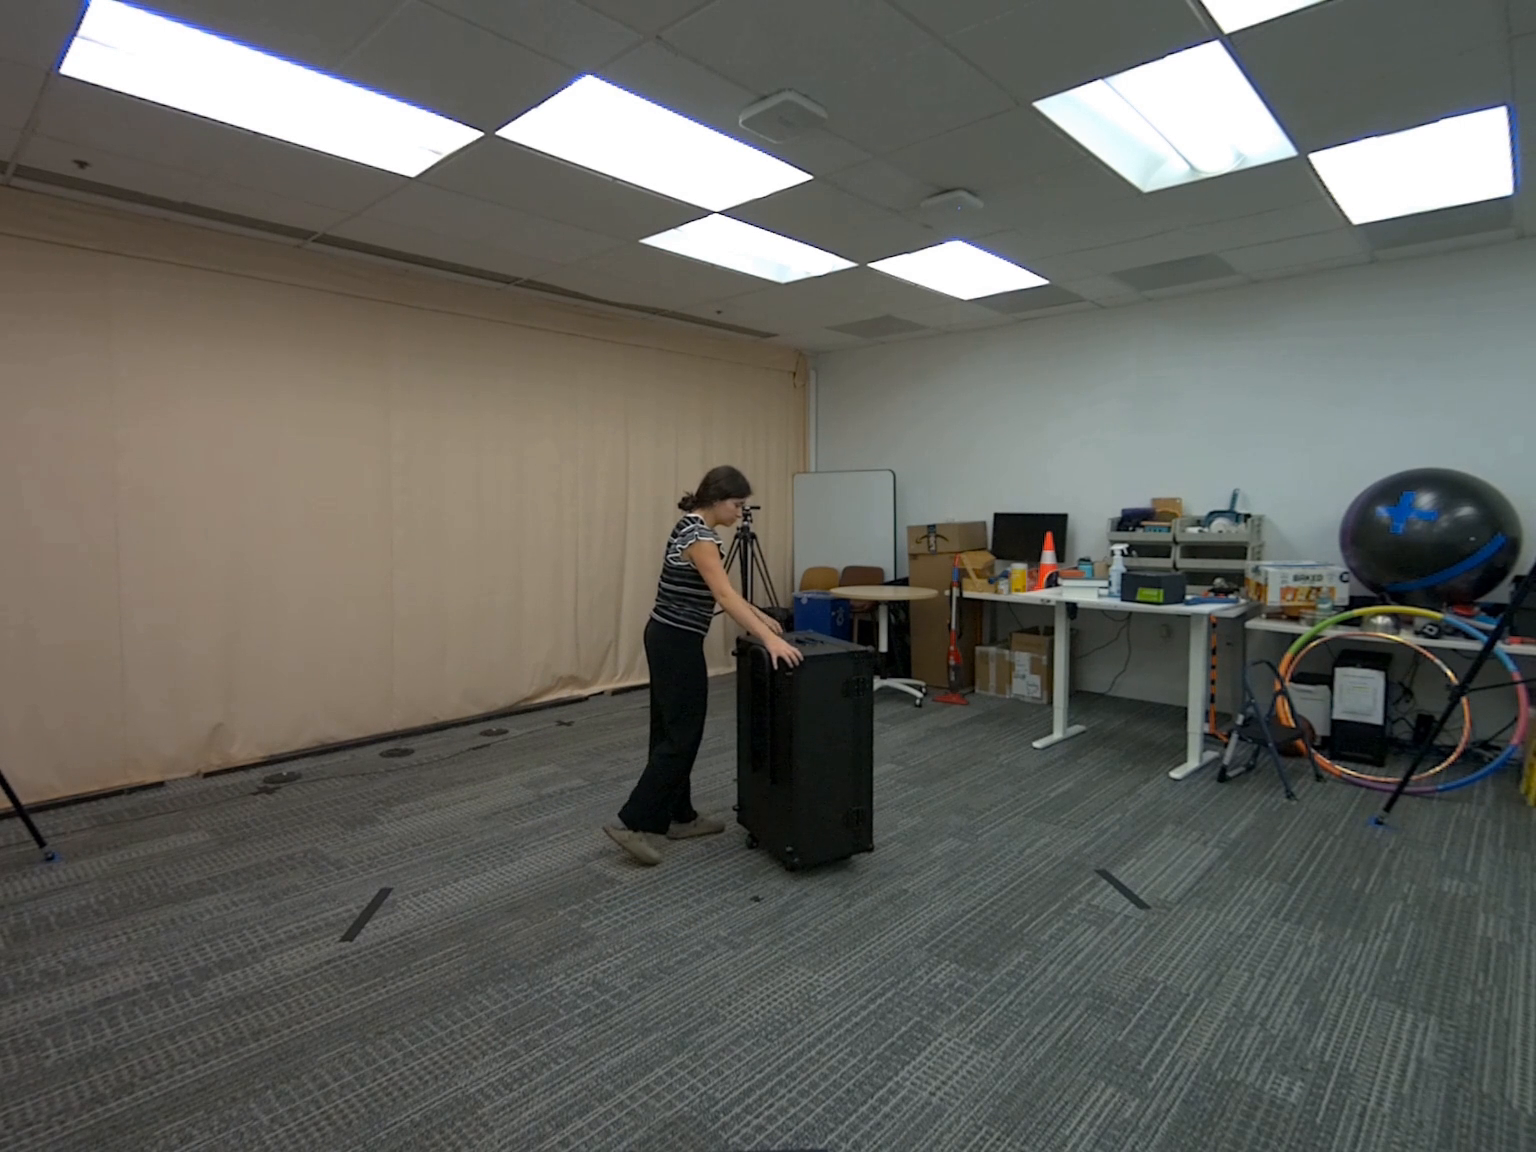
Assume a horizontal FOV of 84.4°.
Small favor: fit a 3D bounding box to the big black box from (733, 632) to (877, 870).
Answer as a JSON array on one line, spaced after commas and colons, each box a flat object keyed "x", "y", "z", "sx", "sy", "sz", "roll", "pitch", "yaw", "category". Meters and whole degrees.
[{"x": 0.131, "y": 0.688, "z": 3.336, "sx": 0.387, "sy": 0.859, "sz": 0.535, "roll": -3, "pitch": 4, "yaw": -26, "category": "big black box"}]
